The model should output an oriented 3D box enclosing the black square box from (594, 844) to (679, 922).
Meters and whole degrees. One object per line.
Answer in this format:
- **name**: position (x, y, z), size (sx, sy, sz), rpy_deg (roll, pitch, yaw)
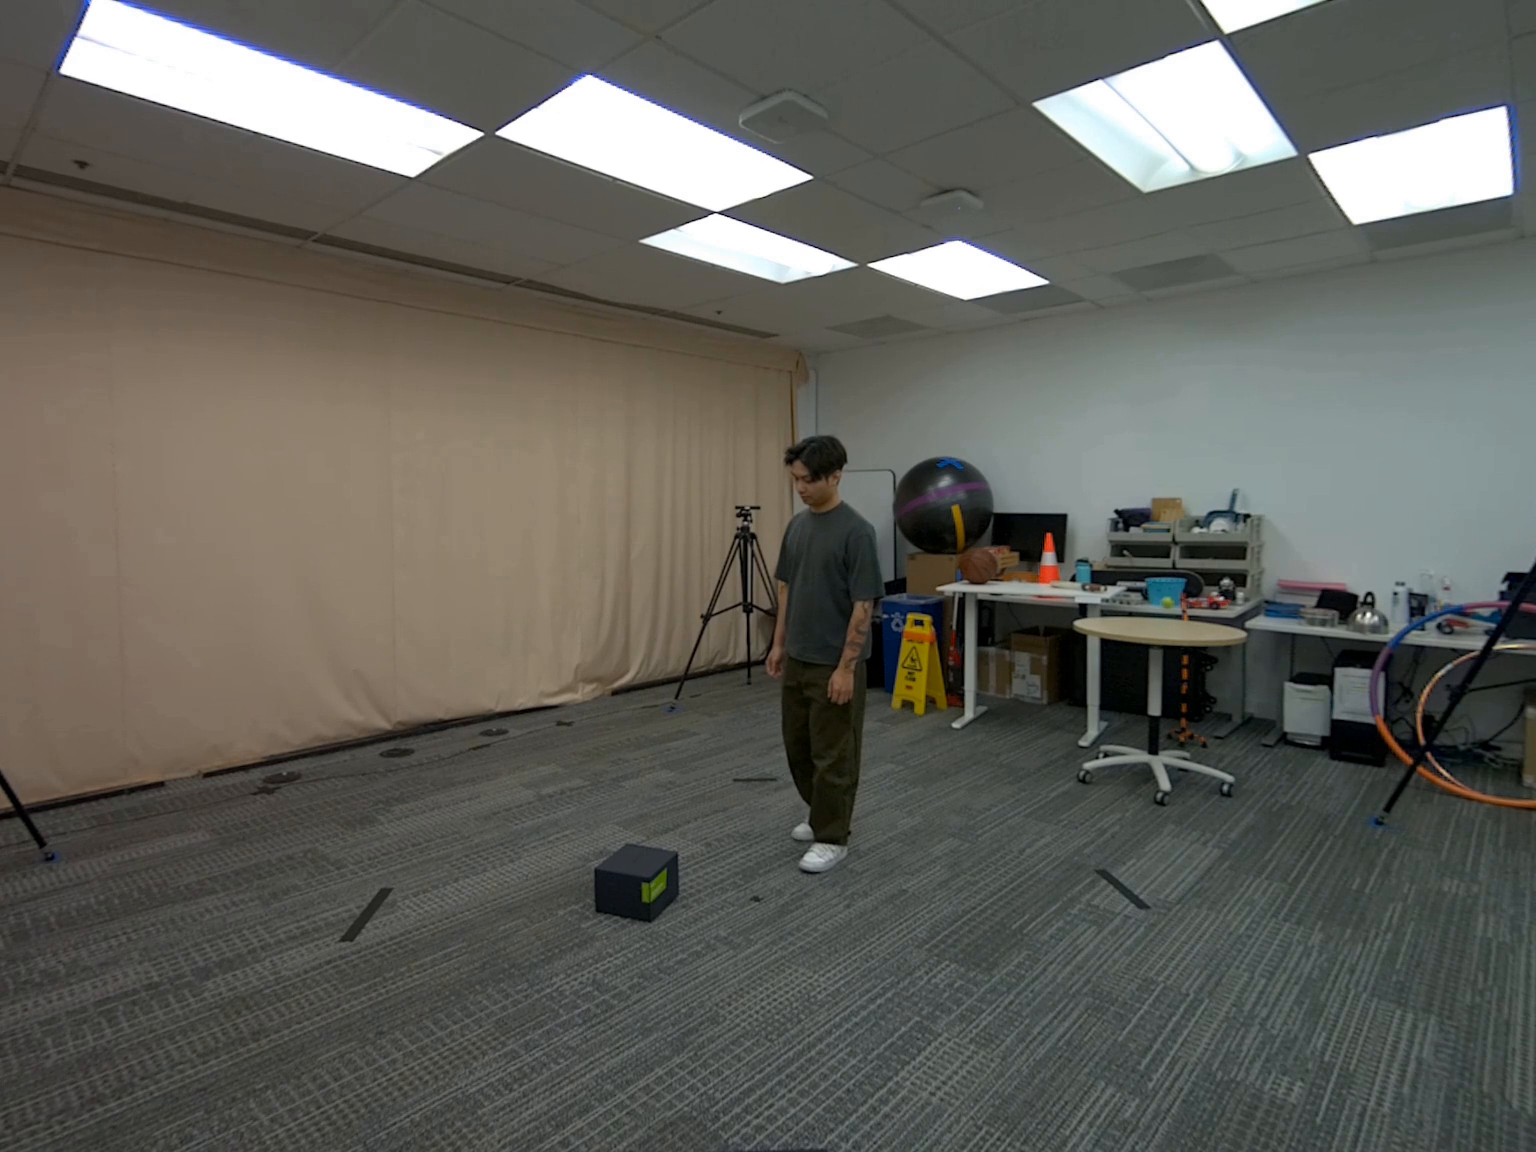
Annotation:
- **black square box**: position (-0.456, 1.066, 2.949), size (0.222, 0.155, 0.223), rpy_deg (1, 4, 21)
